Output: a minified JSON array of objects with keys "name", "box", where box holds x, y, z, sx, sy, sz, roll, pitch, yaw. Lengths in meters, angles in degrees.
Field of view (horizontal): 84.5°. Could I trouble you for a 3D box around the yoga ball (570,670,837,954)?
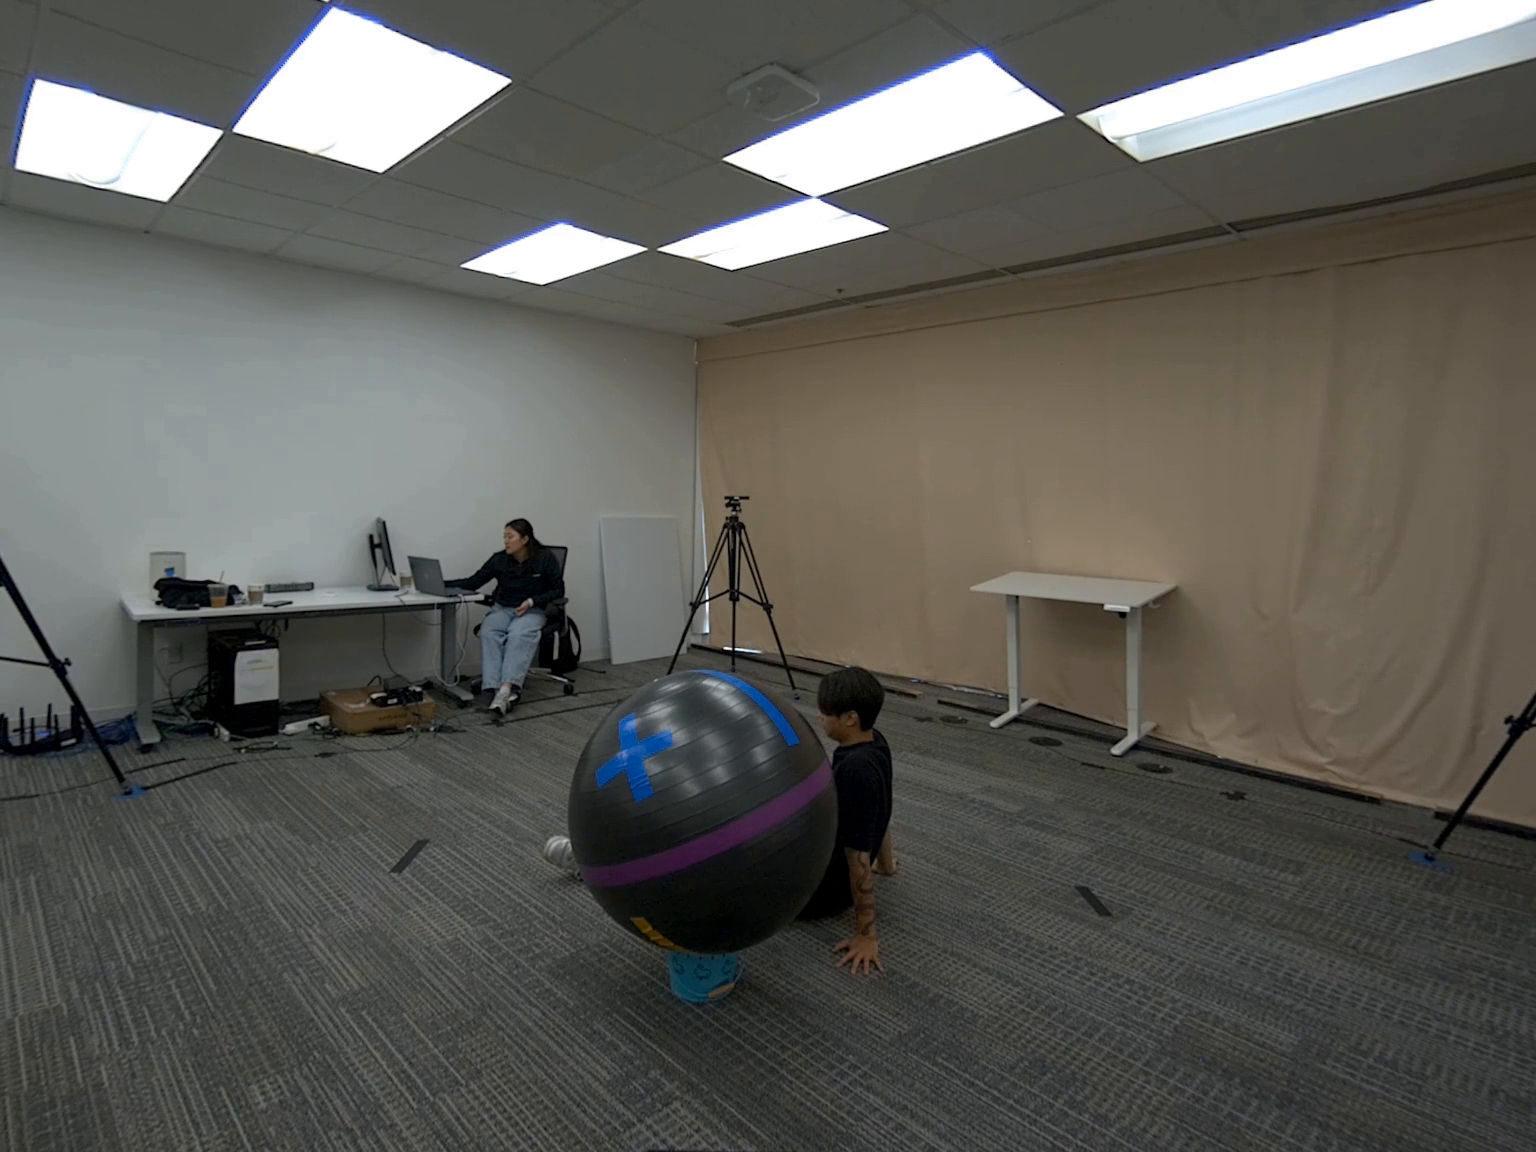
[{"name":"yoga ball","box":[-0.186,0.664,2.373,0.757,0.756,0.761,1,4,-1]}]
